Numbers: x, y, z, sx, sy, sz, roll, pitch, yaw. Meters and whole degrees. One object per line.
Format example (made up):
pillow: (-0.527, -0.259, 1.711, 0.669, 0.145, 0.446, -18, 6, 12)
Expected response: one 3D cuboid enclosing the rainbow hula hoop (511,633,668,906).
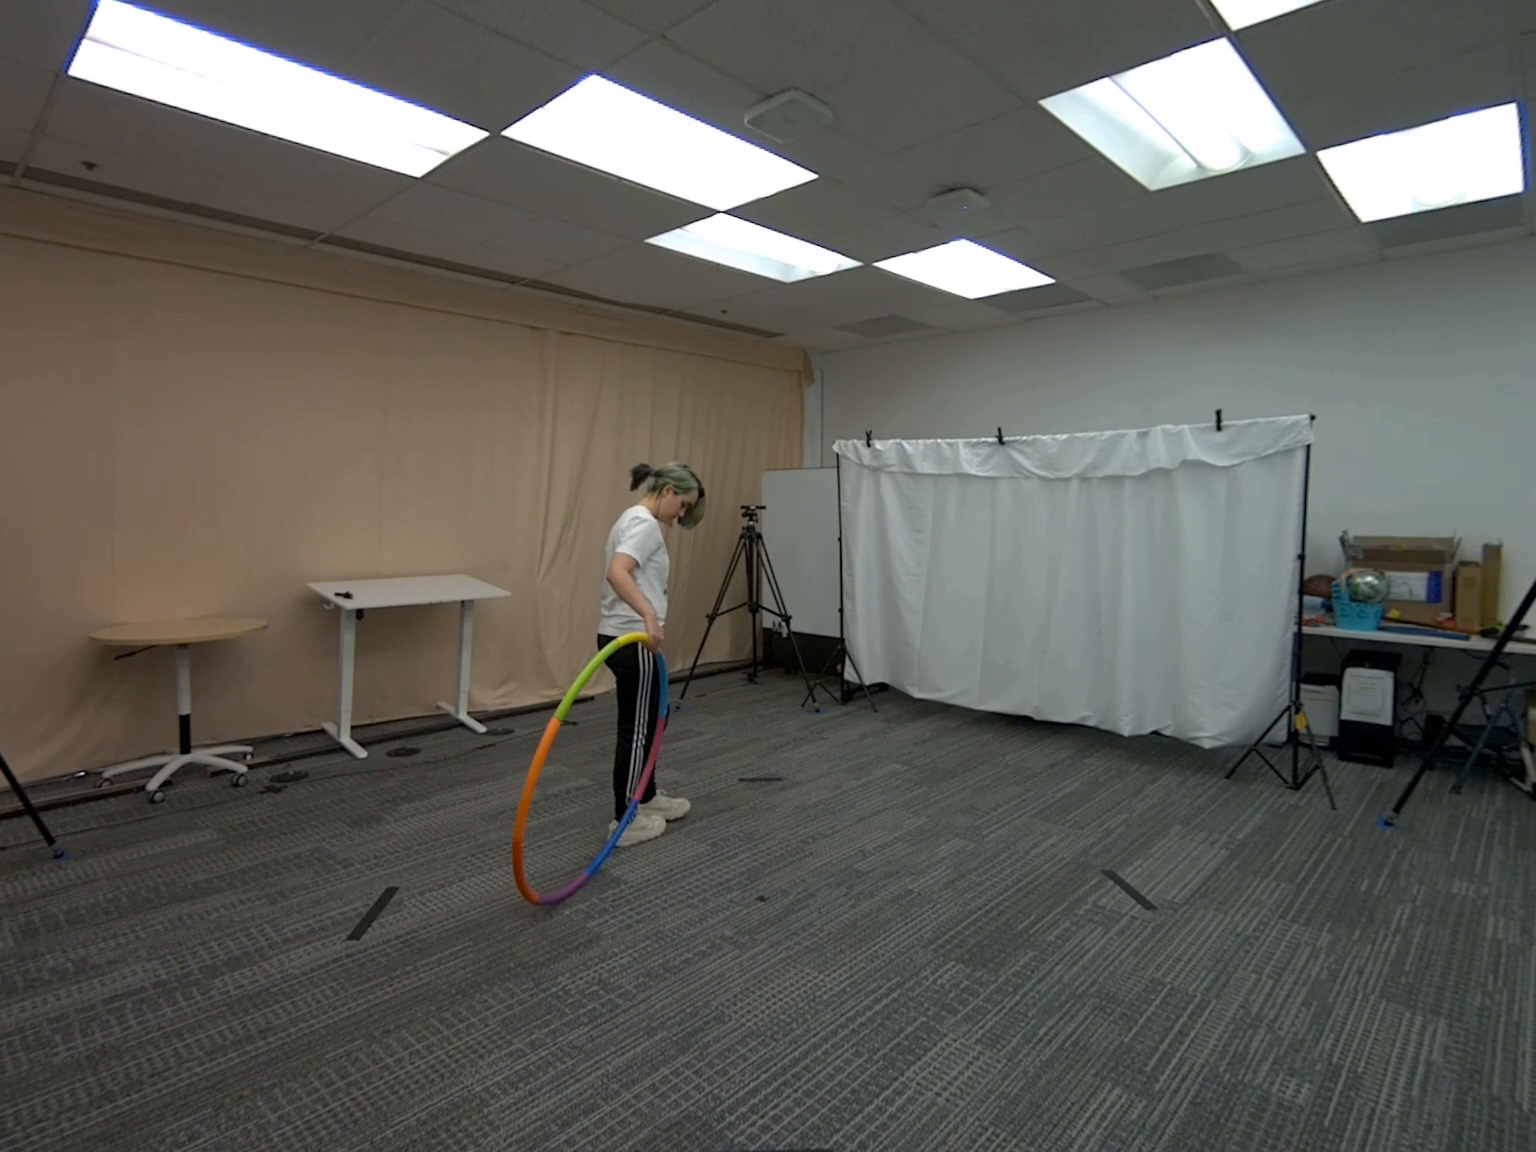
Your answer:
rainbow hula hoop: (-0.587, 0.668, 2.997, 0.036, 0.975, 0.960, 16, 9, 17)
